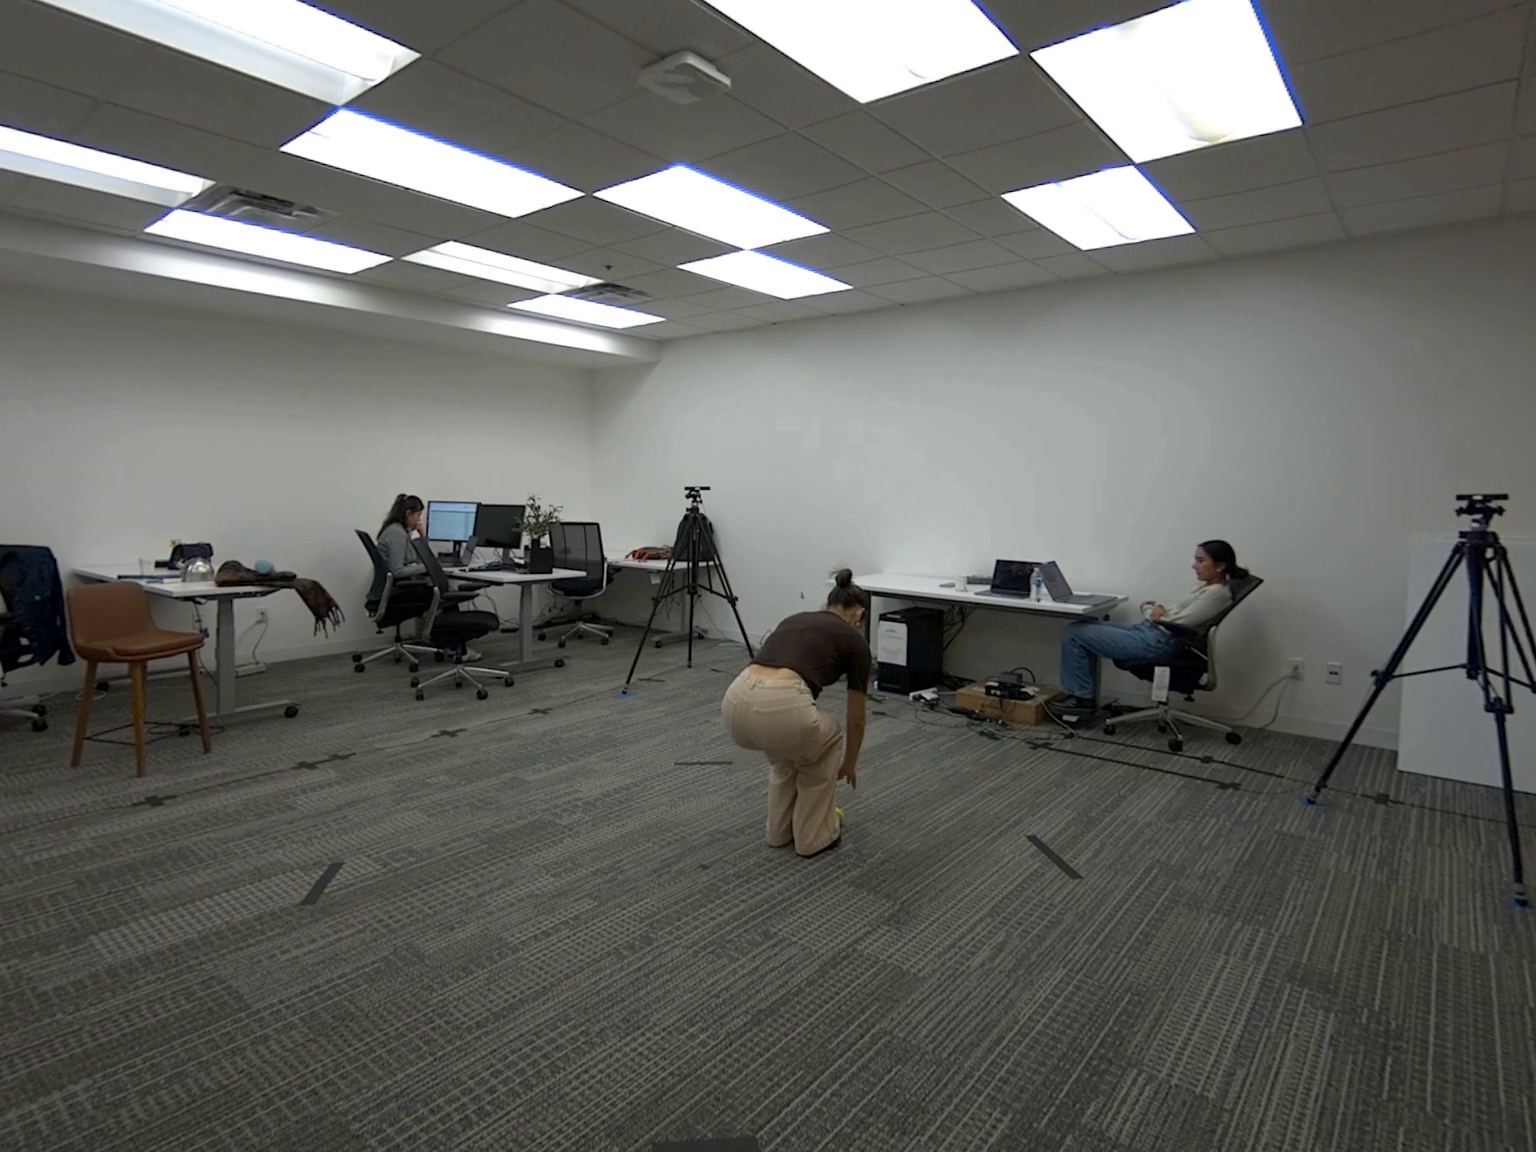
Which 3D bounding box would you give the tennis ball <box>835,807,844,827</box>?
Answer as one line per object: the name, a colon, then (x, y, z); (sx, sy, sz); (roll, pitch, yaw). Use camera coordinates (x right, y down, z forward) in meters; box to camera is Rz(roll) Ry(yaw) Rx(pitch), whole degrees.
tennis ball: (0.266, 0.983, 3.538); (0.066, 0.066, 0.067); (1, 4, -2)
